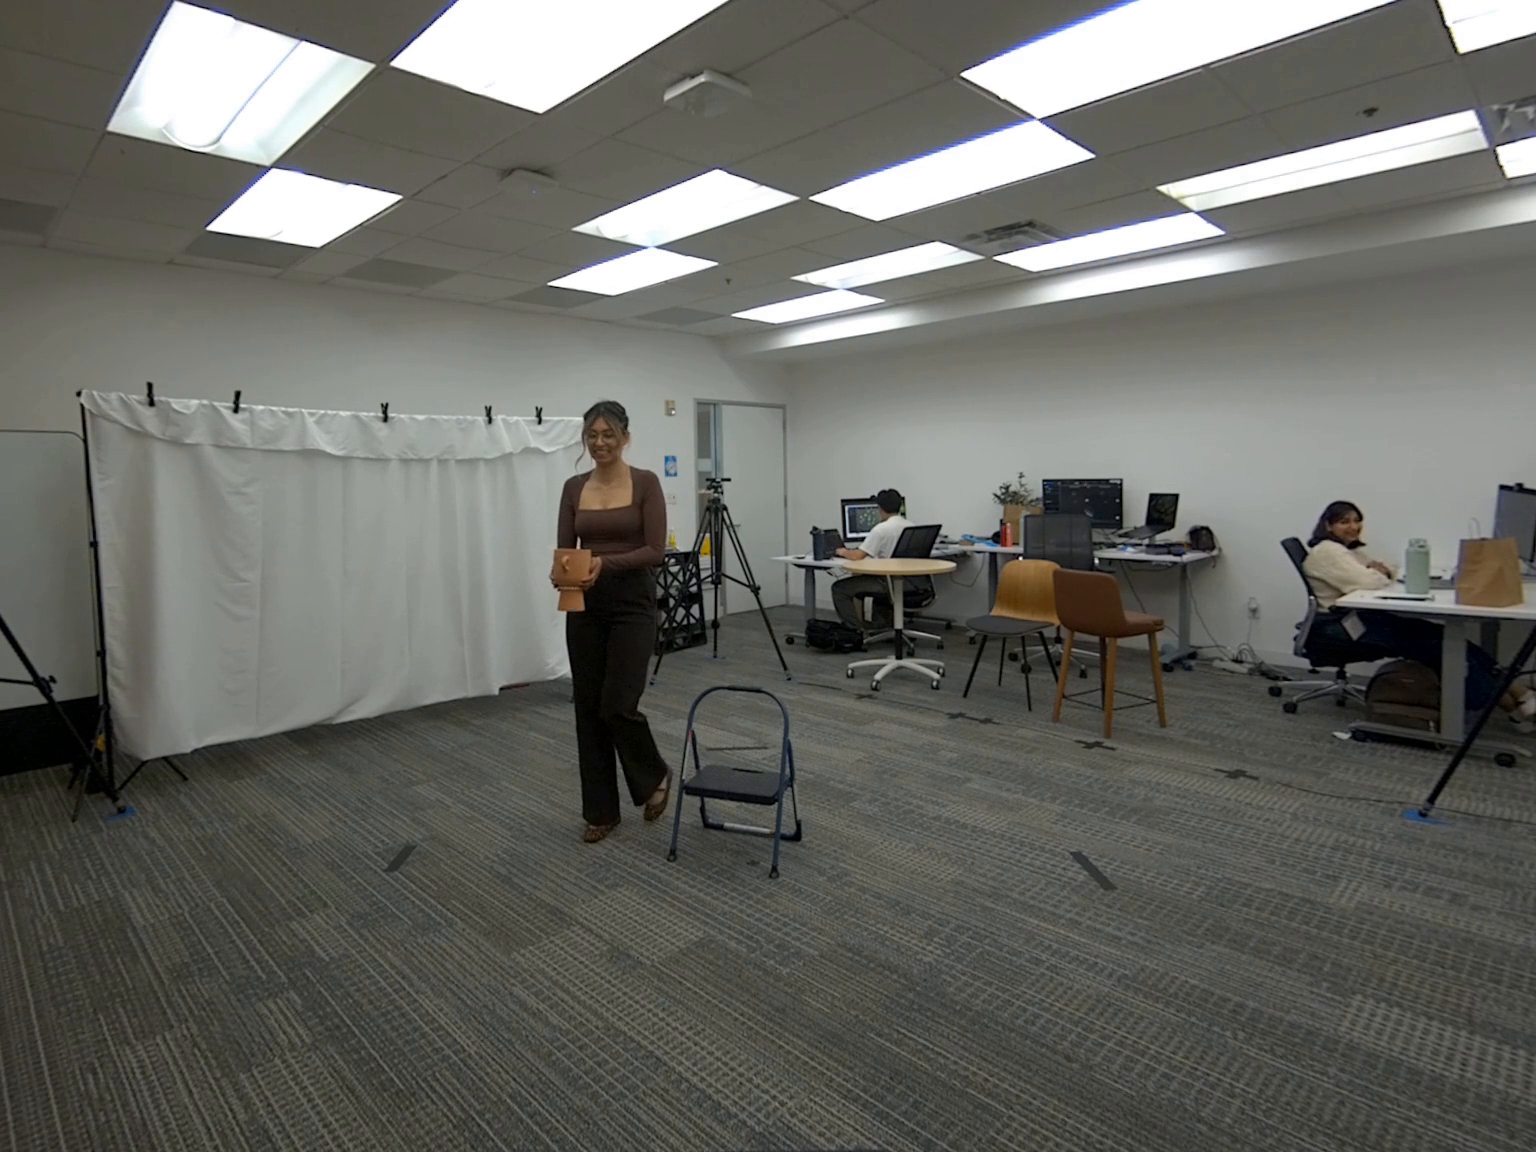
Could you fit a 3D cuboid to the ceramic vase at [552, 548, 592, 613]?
[{"bbox_3d":[-0.711,0.018,3.094,0.154,0.219,0.138,-3,2,-43],"label":"ceramic vase"}]
